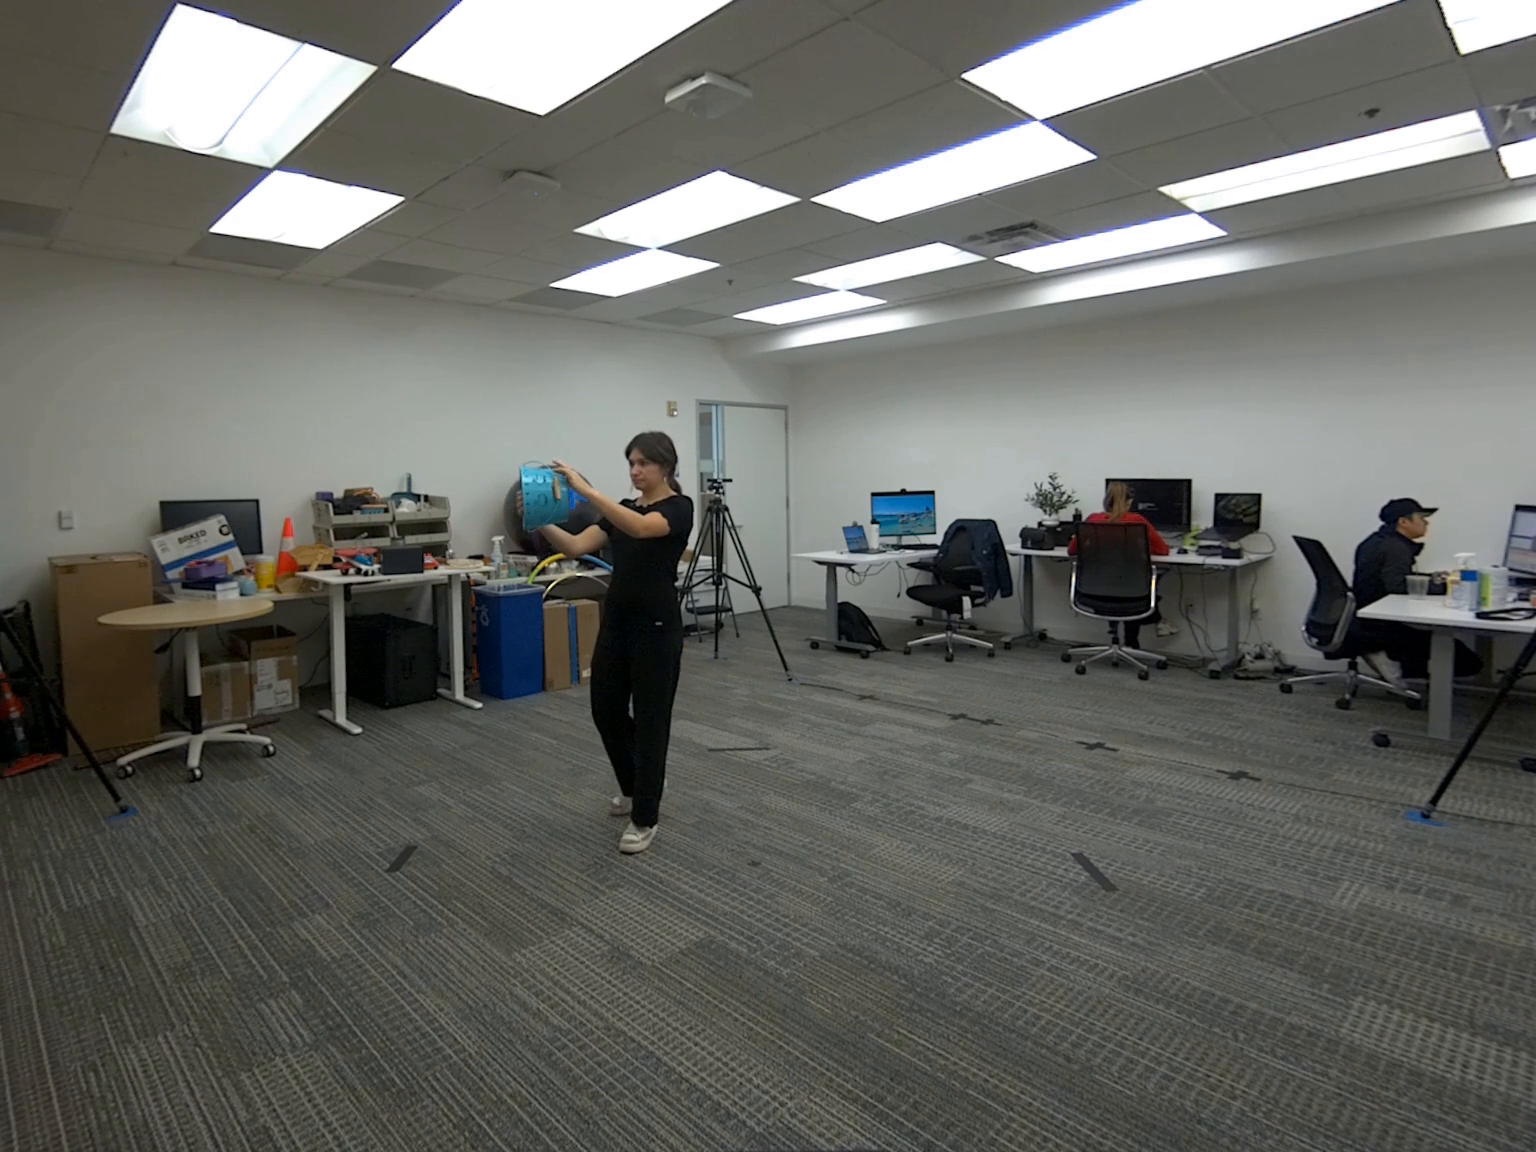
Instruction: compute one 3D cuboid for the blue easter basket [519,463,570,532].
[{"bbox_3d":[-0.798,-0.277,2.994,0.154,0.243,0.248,-1,5,-15],"label":"blue easter basket"}]
